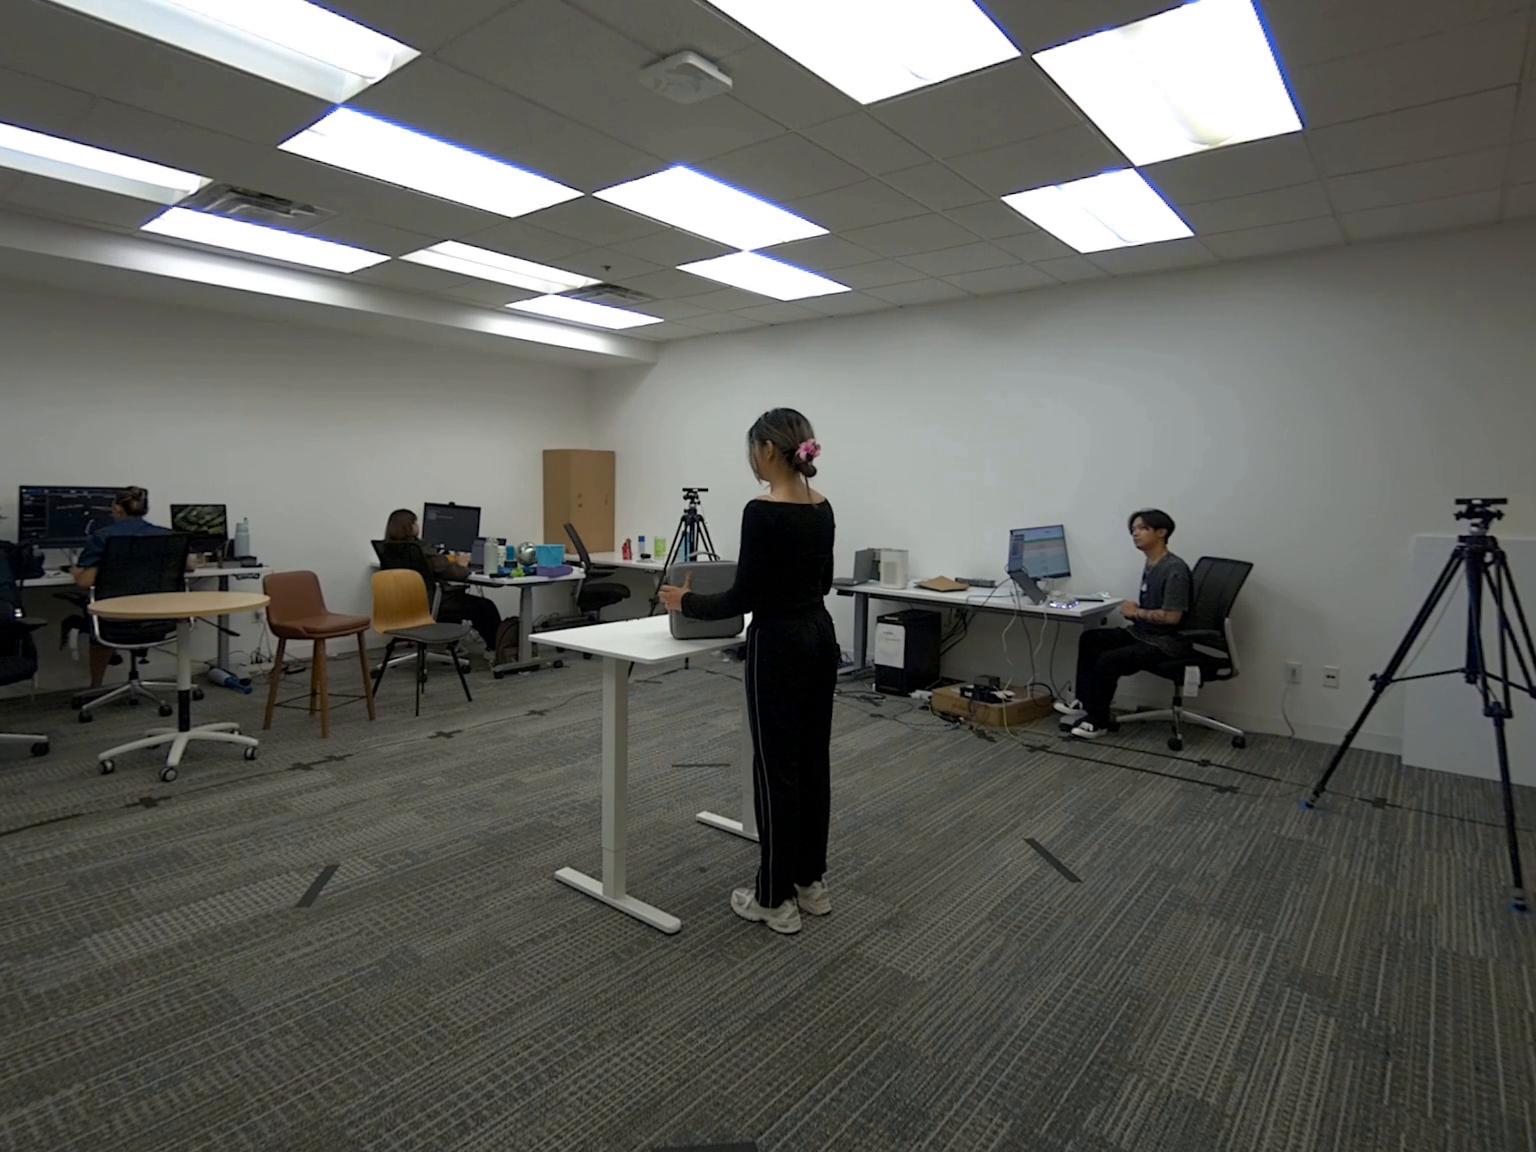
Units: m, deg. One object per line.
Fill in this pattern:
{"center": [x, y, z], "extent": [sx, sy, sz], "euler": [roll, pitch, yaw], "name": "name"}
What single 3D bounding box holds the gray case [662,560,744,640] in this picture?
{"center": [-0.222, 0.077, 2.910], "extent": [0.254, 0.261, 0.105], "euler": [-2, -3, -10], "name": "gray case"}
